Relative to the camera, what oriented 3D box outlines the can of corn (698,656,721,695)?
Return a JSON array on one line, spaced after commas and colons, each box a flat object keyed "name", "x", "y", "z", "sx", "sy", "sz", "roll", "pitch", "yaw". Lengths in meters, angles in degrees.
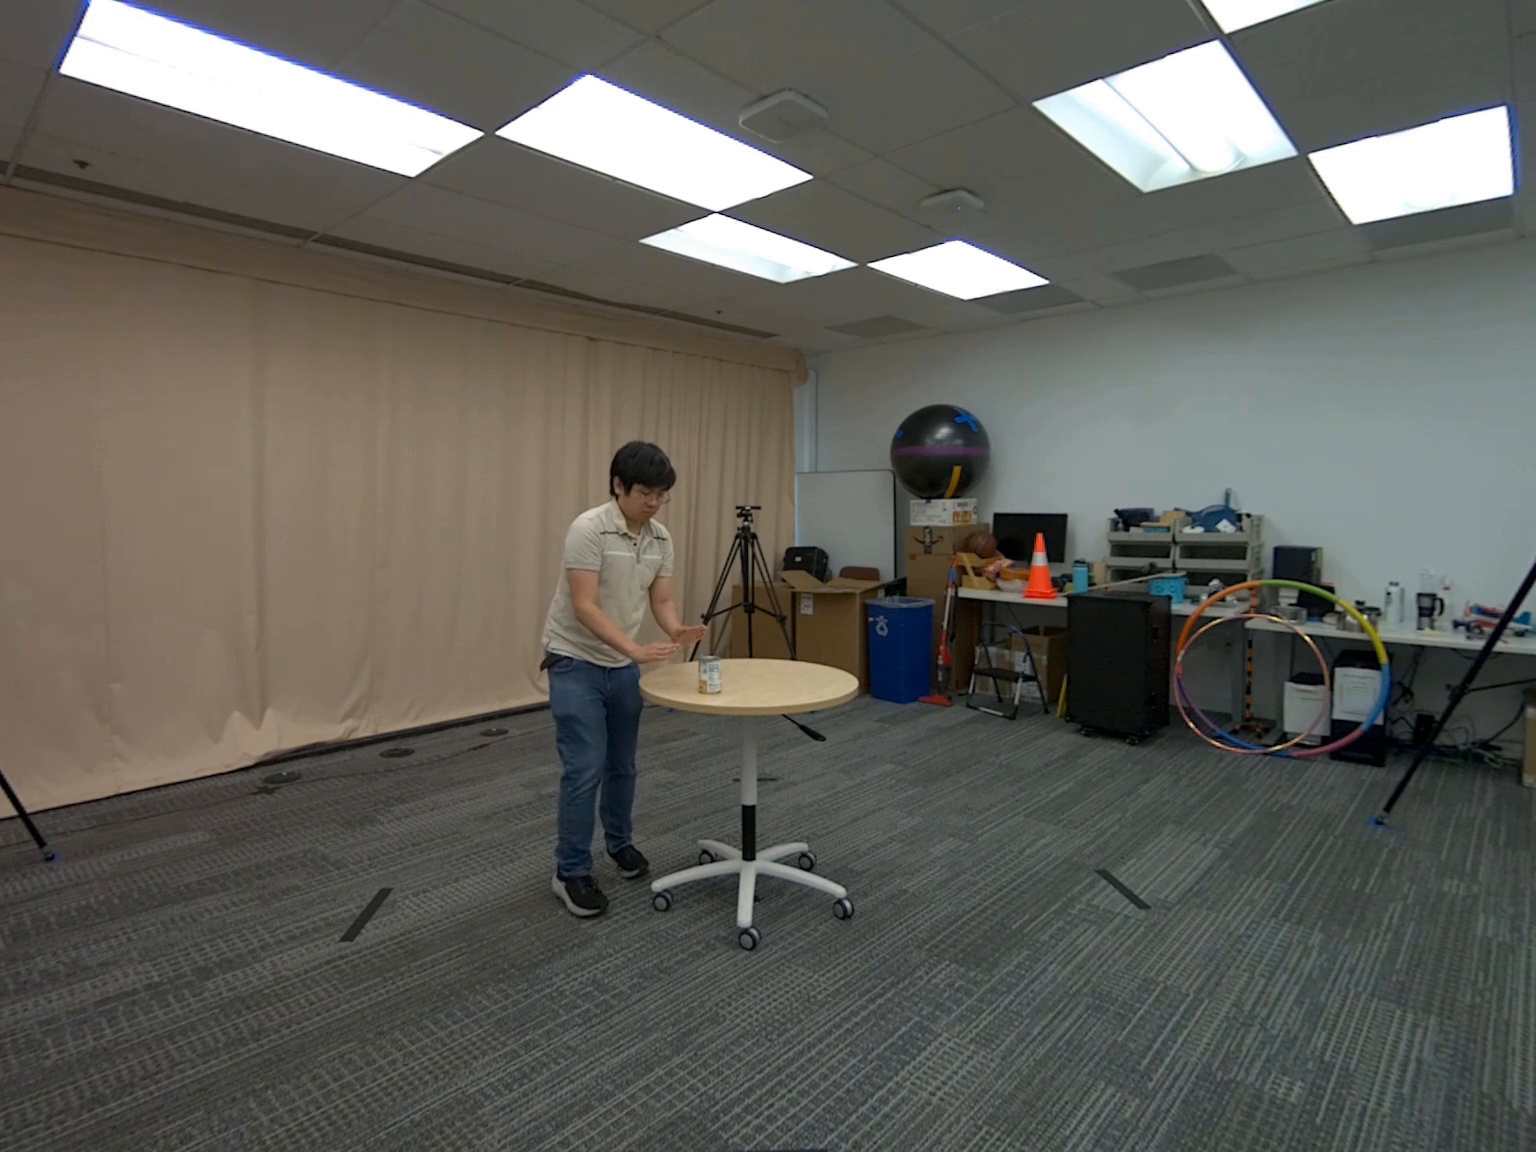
[{"name": "can of corn", "x": -0.188, "y": 0.332, "z": 2.760, "sx": 0.074, "sy": 0.111, "sz": 0.074, "roll": -1, "pitch": 4, "yaw": -2}]
